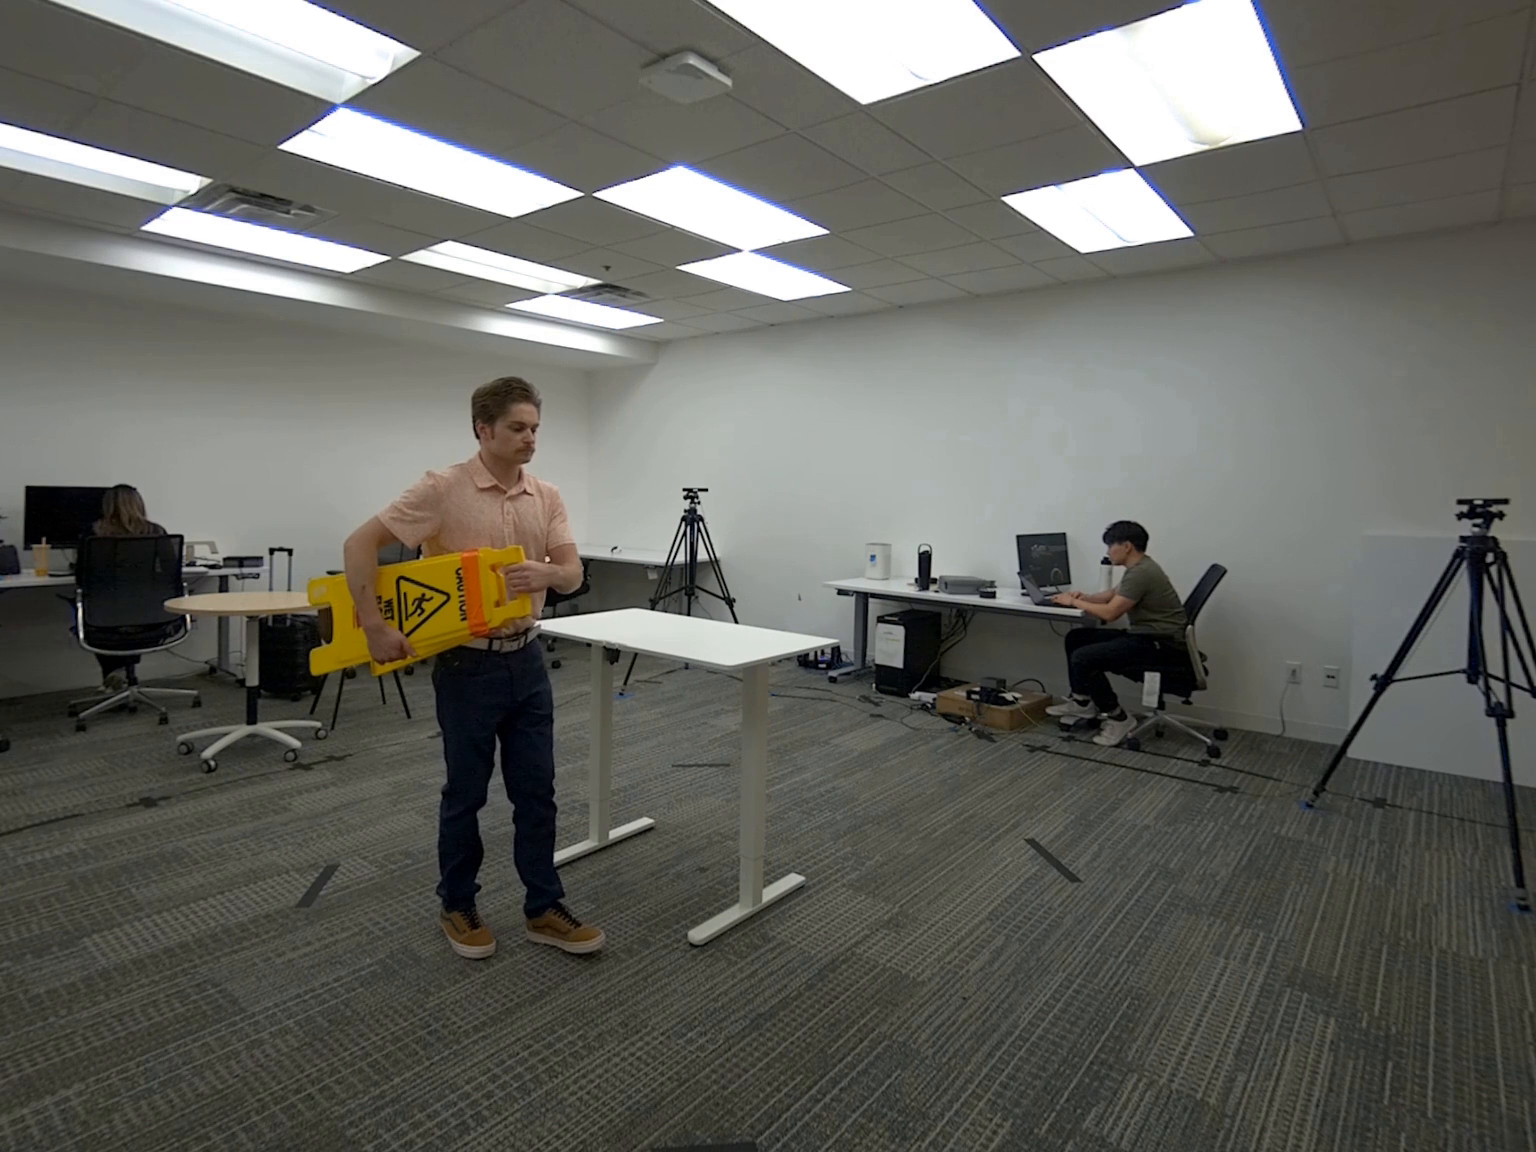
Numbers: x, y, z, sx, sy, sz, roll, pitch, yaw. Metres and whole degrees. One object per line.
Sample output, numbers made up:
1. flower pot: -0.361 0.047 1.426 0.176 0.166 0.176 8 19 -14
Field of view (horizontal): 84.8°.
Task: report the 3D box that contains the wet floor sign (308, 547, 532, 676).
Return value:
1. wet floor sign: -0.981 0.090 2.399 0.656 0.286 0.281 -14 -12 20
